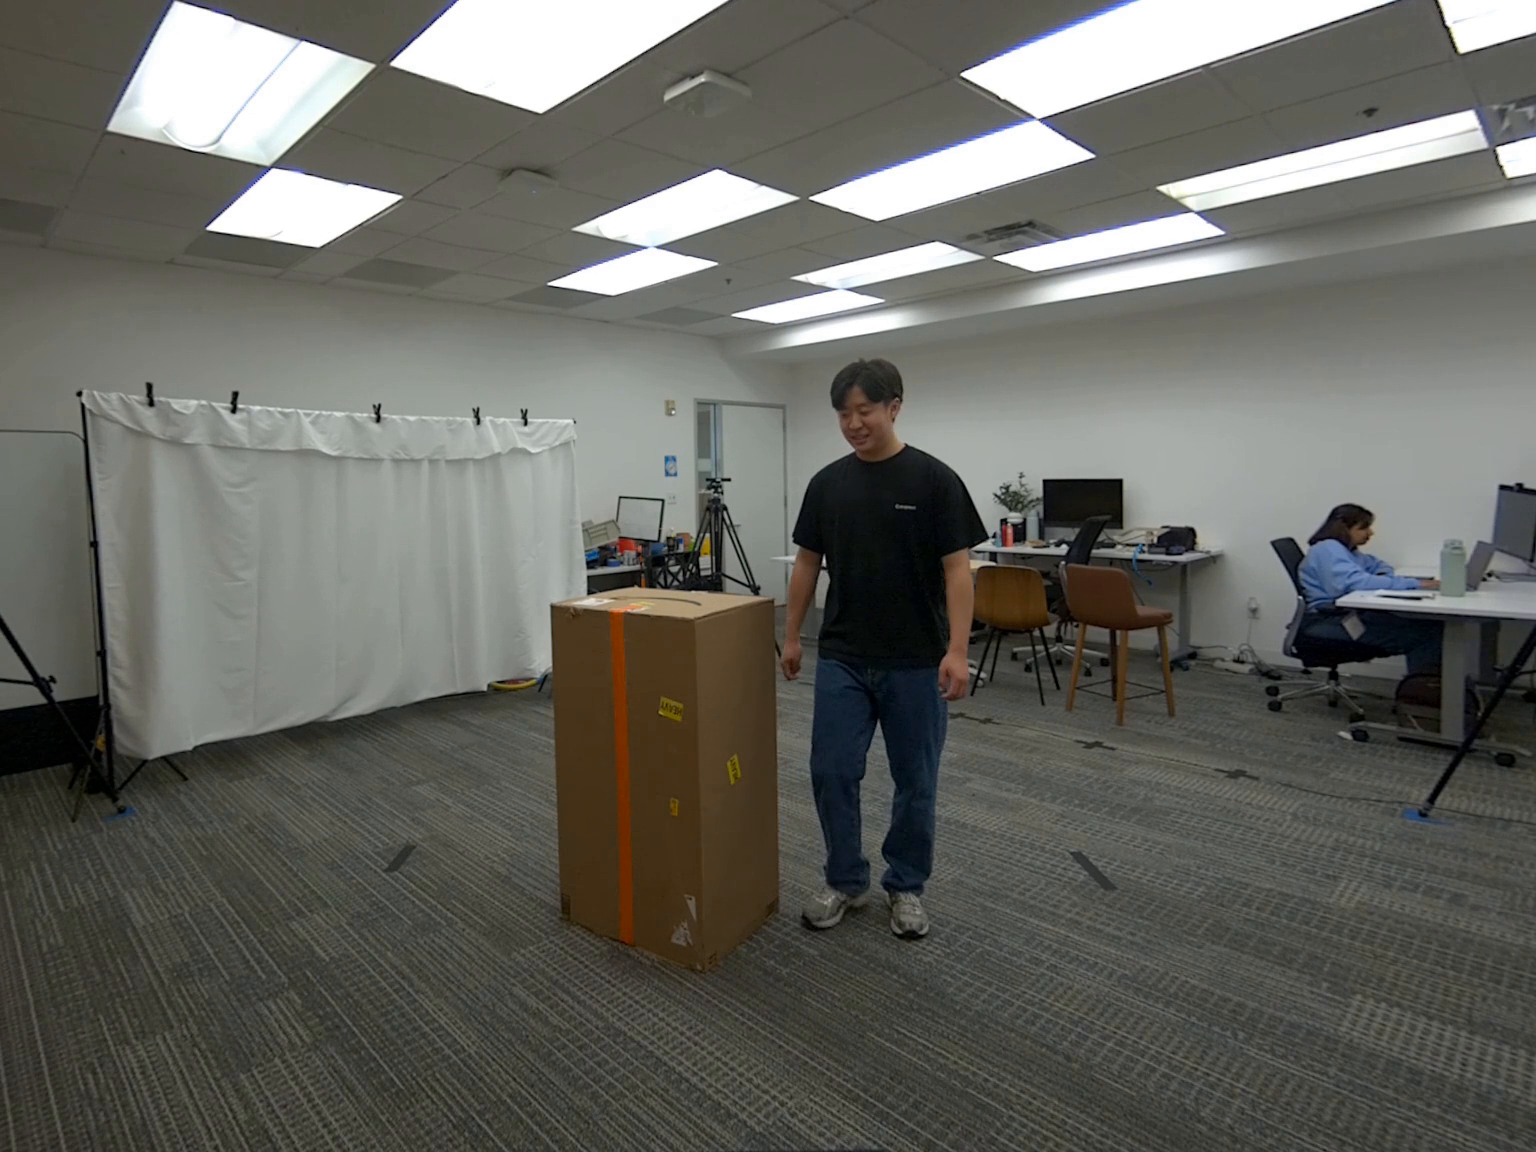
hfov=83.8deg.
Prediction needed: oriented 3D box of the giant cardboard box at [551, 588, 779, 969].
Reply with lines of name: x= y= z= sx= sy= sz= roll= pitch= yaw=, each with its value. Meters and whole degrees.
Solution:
giant cardboard box: x=-0.324 y=0.582 z=2.714 sx=0.600 sy=1.022 sz=0.436 roll=2 pitch=6 yaw=35
